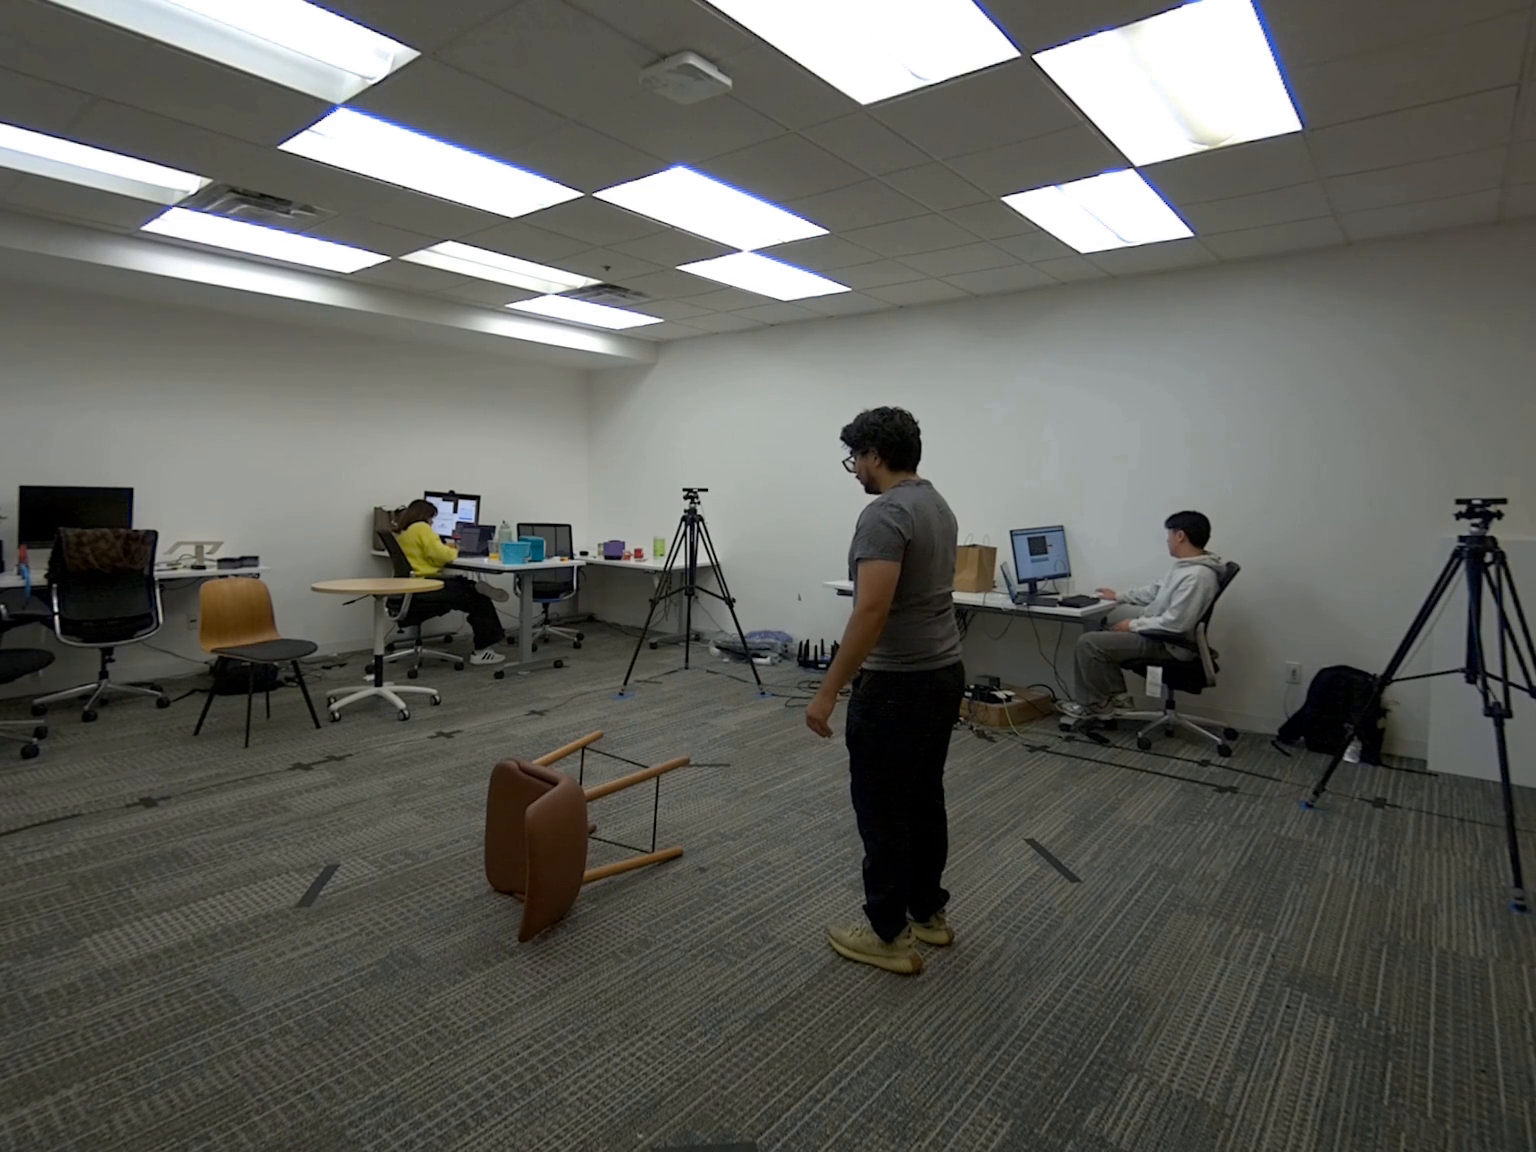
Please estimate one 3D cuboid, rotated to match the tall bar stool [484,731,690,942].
[{"bbox_3d":[-0.711,0.863,2.965,0.481,0.455,0.867,6,5,27],"label":"tall bar stool"}]
